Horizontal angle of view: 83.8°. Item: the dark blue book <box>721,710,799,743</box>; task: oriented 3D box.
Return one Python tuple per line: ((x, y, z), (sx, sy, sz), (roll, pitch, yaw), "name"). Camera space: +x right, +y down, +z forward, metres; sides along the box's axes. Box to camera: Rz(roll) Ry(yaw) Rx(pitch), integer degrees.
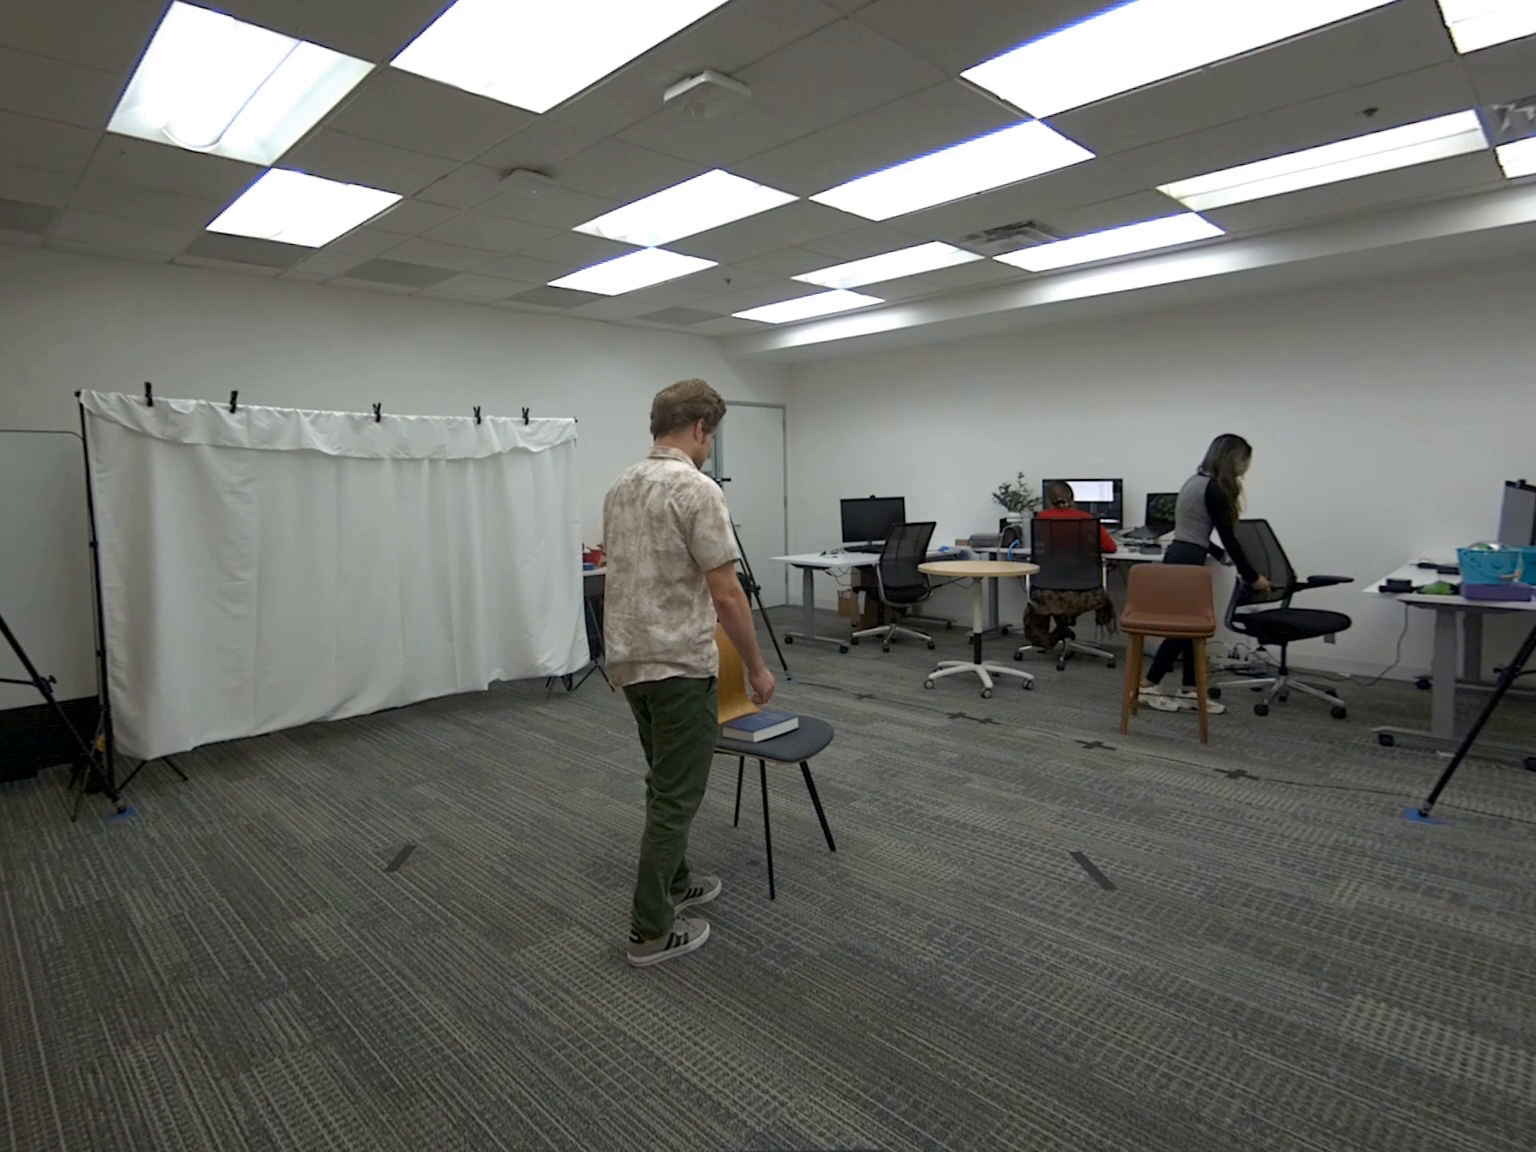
((-0.028, 0.536, 3.079), (0.168, 0.045, 0.239), (1, 6, 43), "dark blue book")
